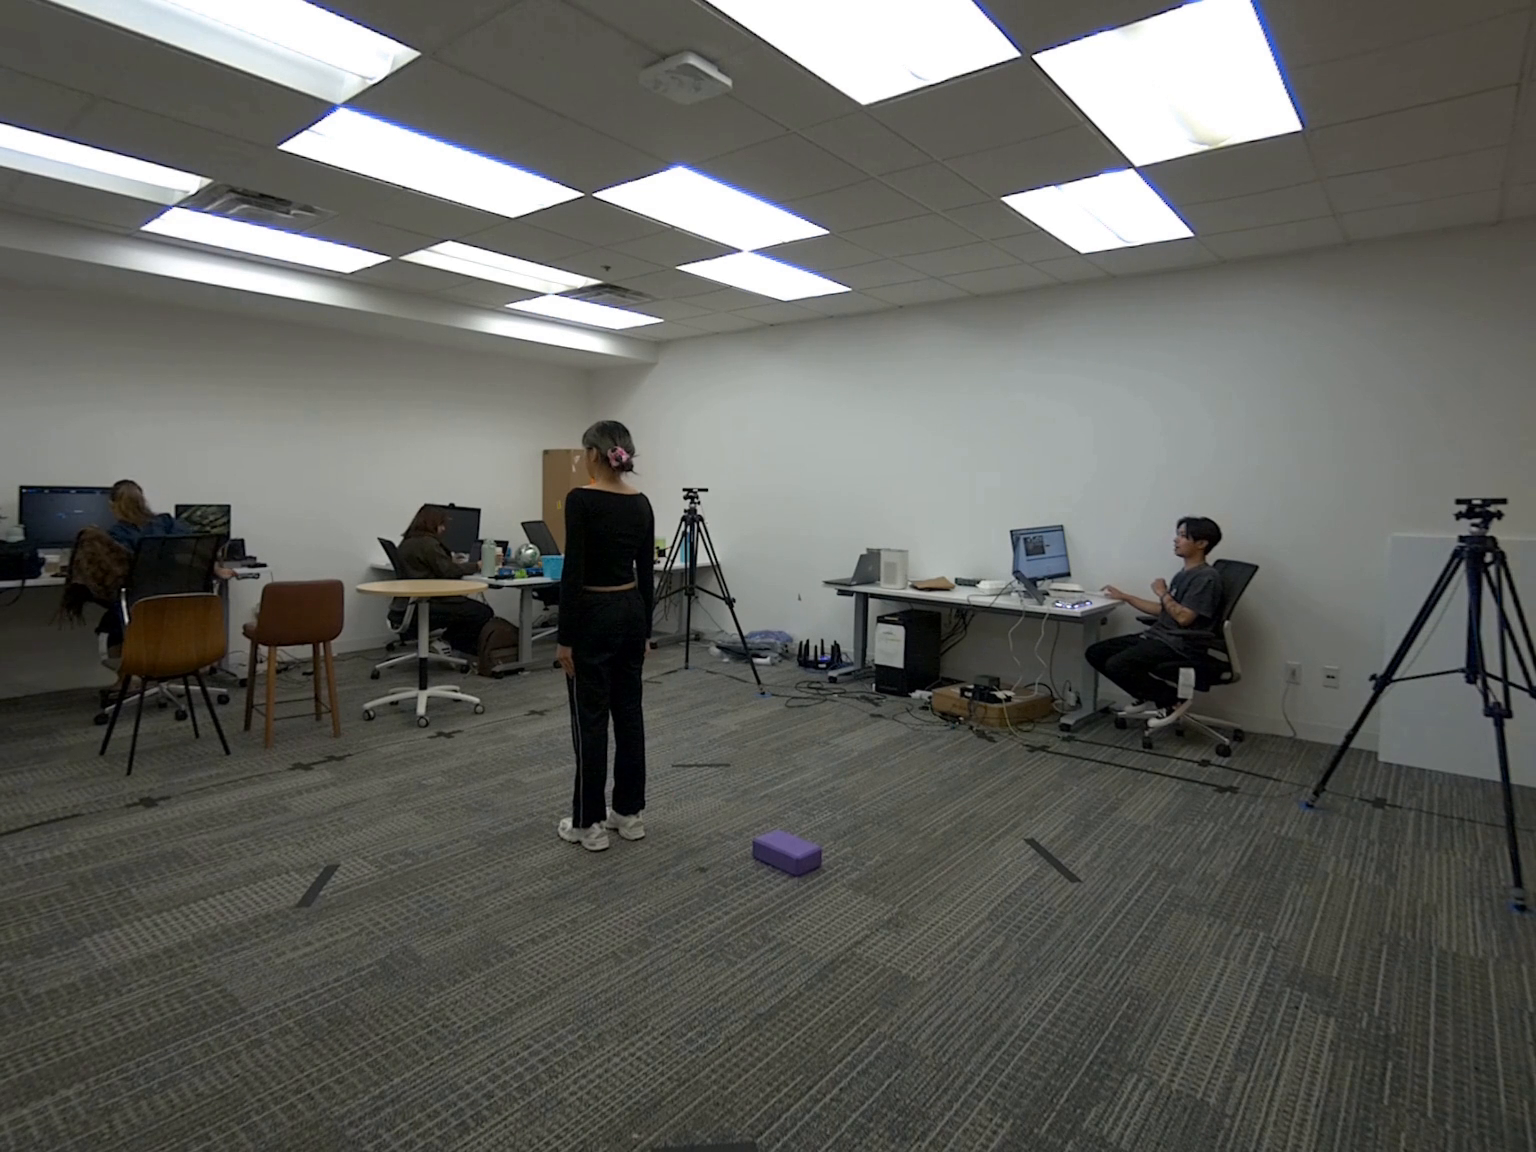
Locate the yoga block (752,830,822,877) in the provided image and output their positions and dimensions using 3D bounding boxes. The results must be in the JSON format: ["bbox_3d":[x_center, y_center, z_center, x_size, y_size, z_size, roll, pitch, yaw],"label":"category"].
[{"bbox_3d":[0.064,1.031,3.183,0.237,0.076,0.144,6,7,43],"label":"yoga block"}]
